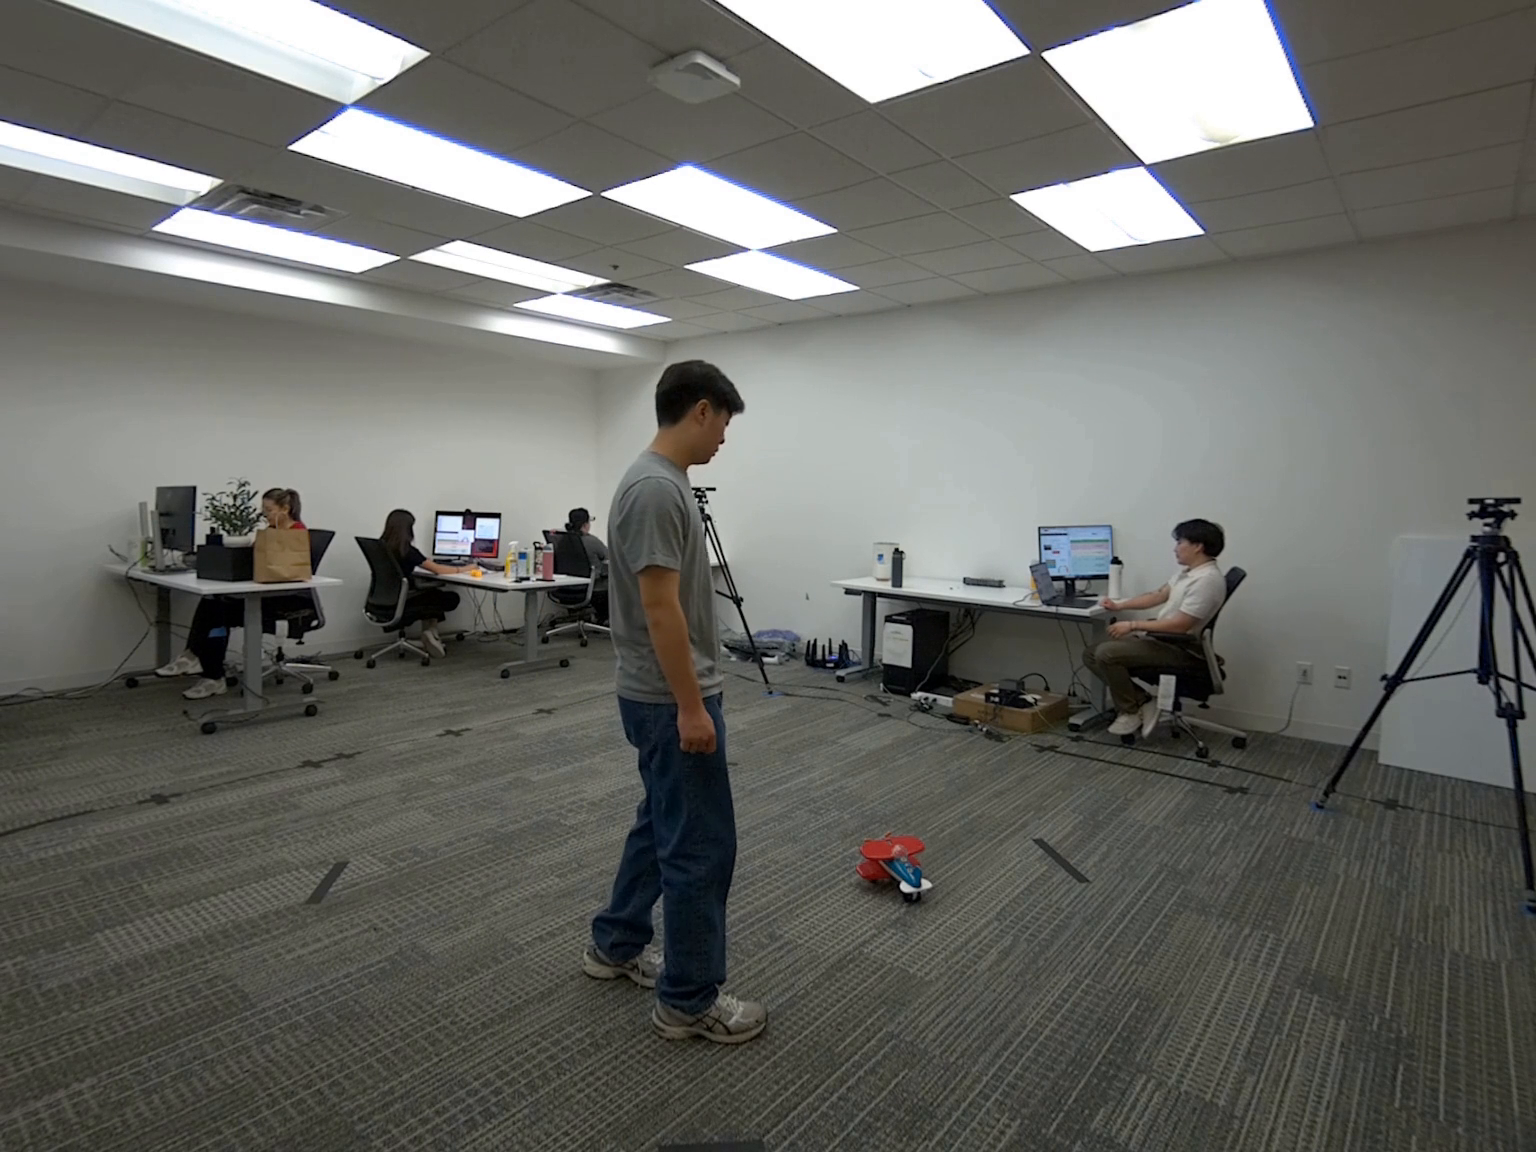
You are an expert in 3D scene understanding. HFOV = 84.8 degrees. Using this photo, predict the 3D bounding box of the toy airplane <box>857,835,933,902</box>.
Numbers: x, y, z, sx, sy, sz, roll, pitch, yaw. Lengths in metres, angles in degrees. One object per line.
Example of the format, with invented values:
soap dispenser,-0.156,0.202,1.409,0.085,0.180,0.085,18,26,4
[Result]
toy airplane,0.463,1.022,2.986,0.267,0.156,0.244,4,6,36
